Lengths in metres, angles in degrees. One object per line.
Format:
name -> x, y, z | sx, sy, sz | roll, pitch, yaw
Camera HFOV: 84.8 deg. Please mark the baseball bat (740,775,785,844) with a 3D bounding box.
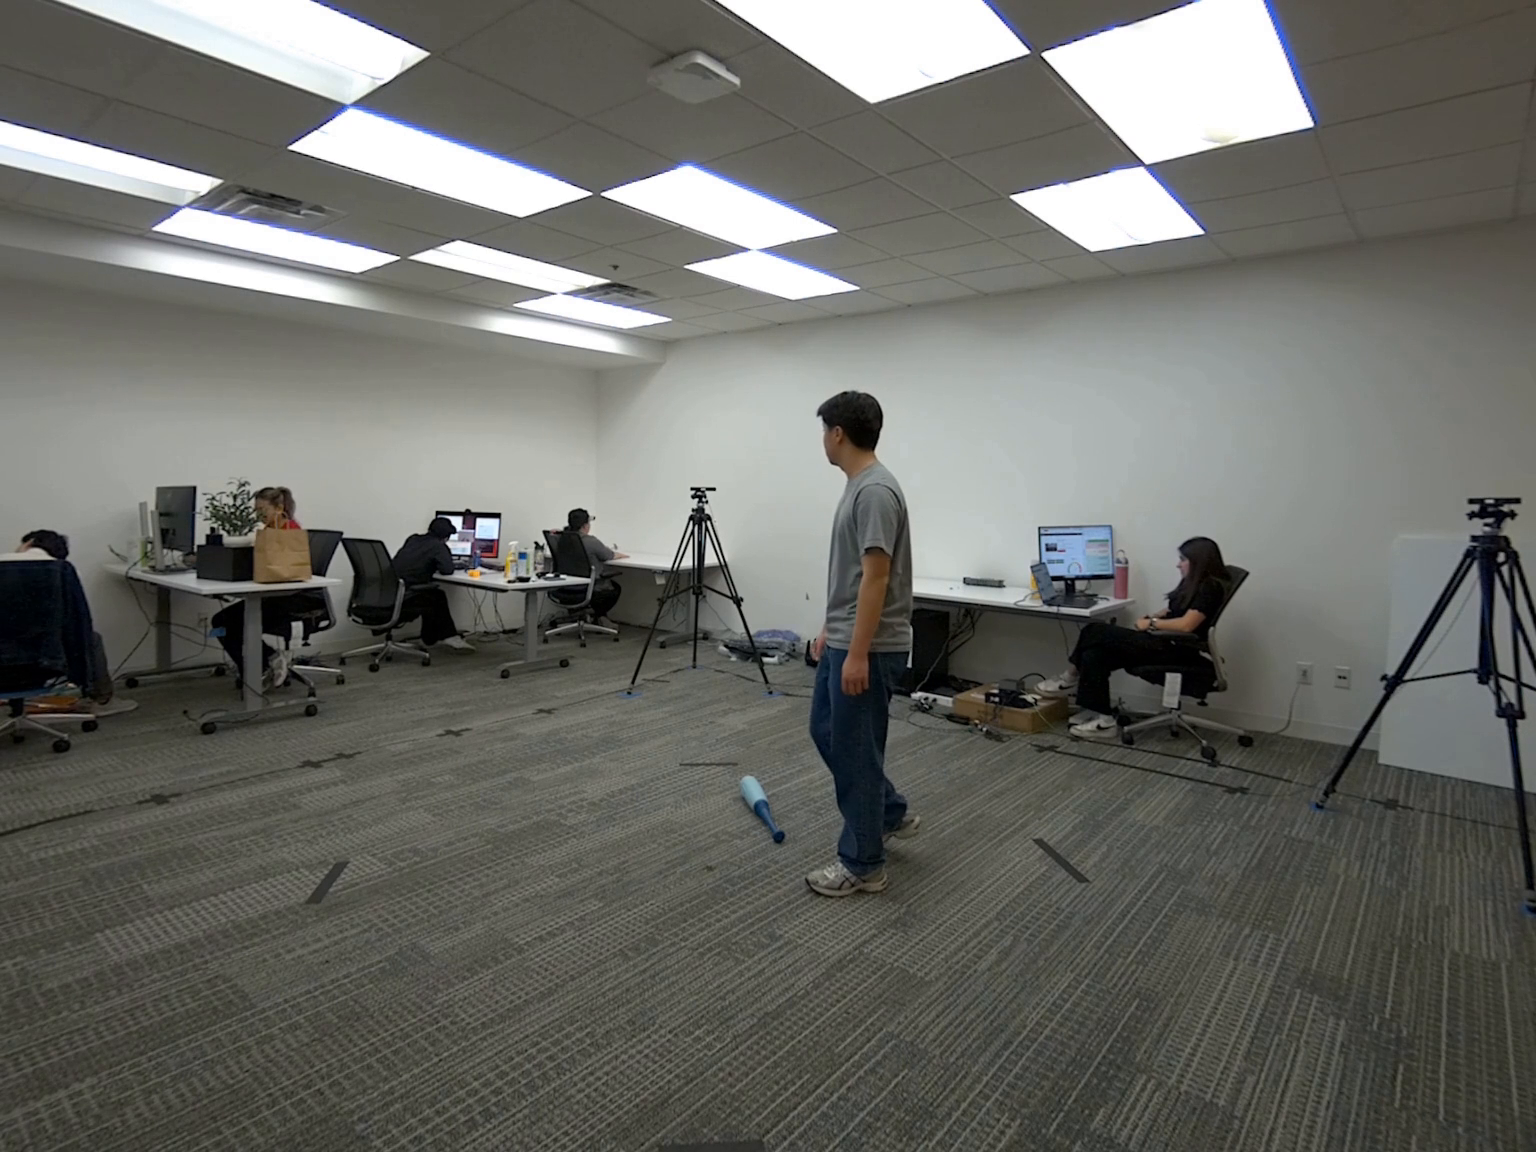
baseball bat -> -0.035, 0.986, 3.604 | 0.088, 0.088, 0.553 | 0, 9, -13
